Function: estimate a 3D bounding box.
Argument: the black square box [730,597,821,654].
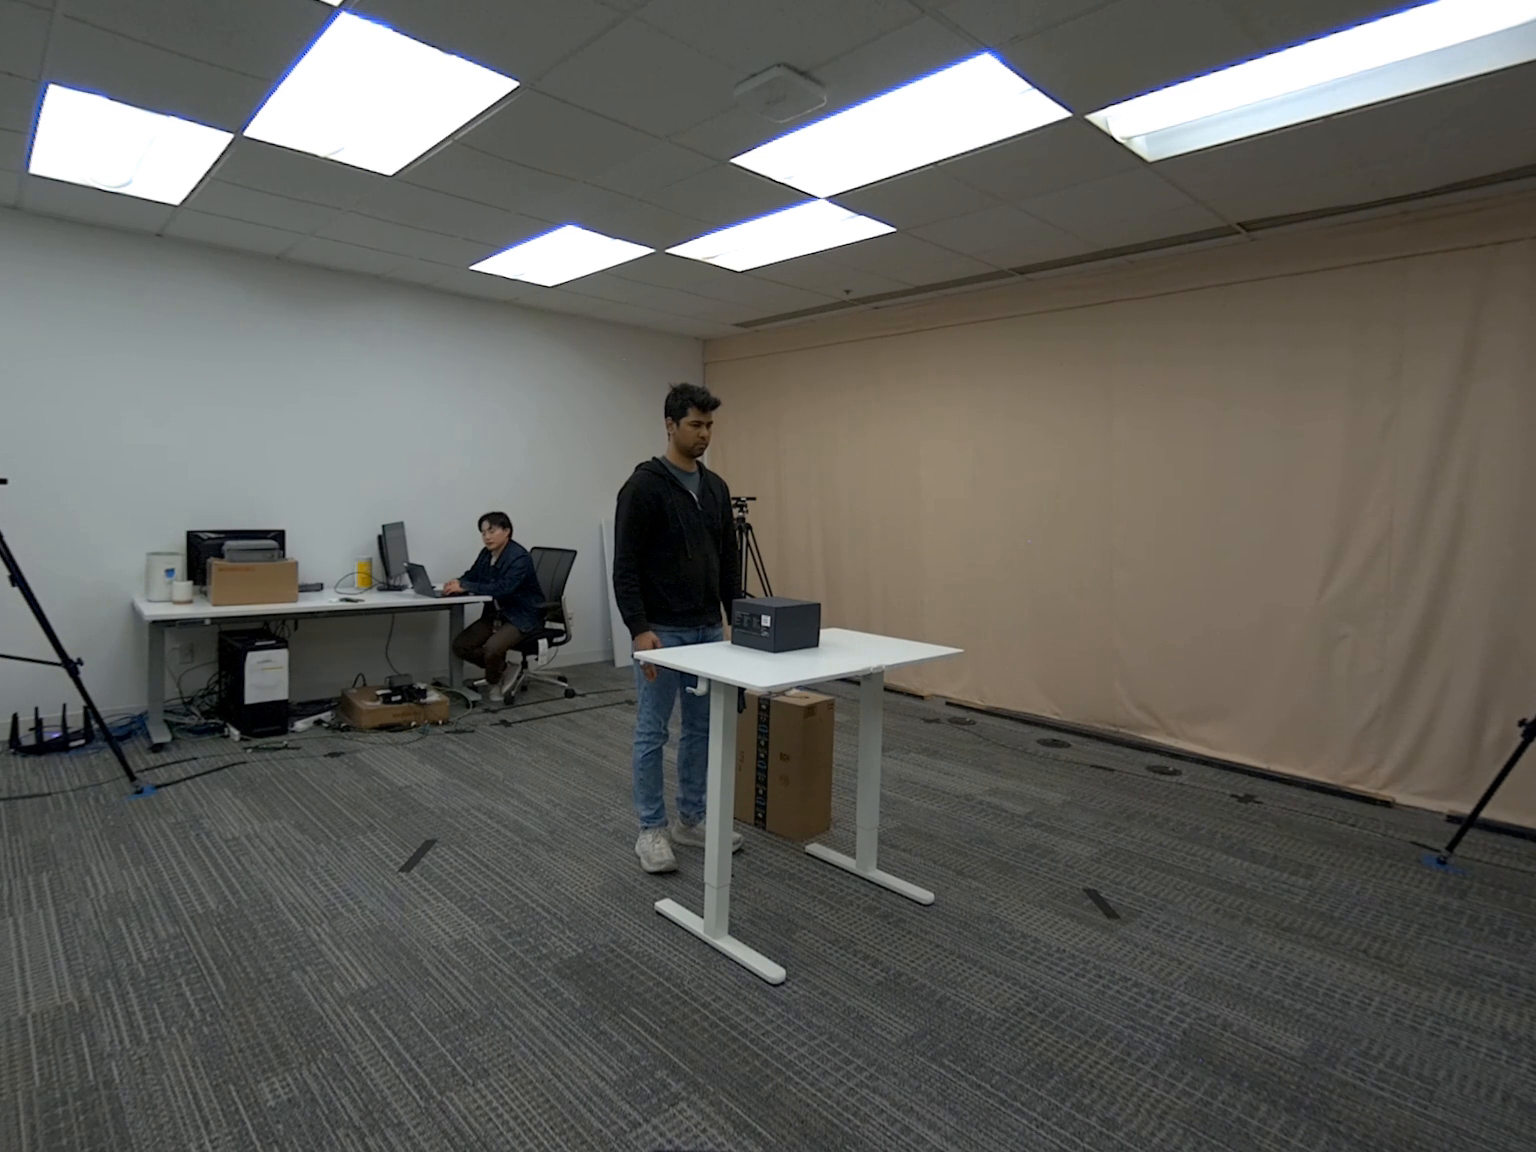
[{"bbox_3d":[0.019,0.164,2.932,0.223,0.155,0.222,-2,6,-45],"label":"black square box"}]
